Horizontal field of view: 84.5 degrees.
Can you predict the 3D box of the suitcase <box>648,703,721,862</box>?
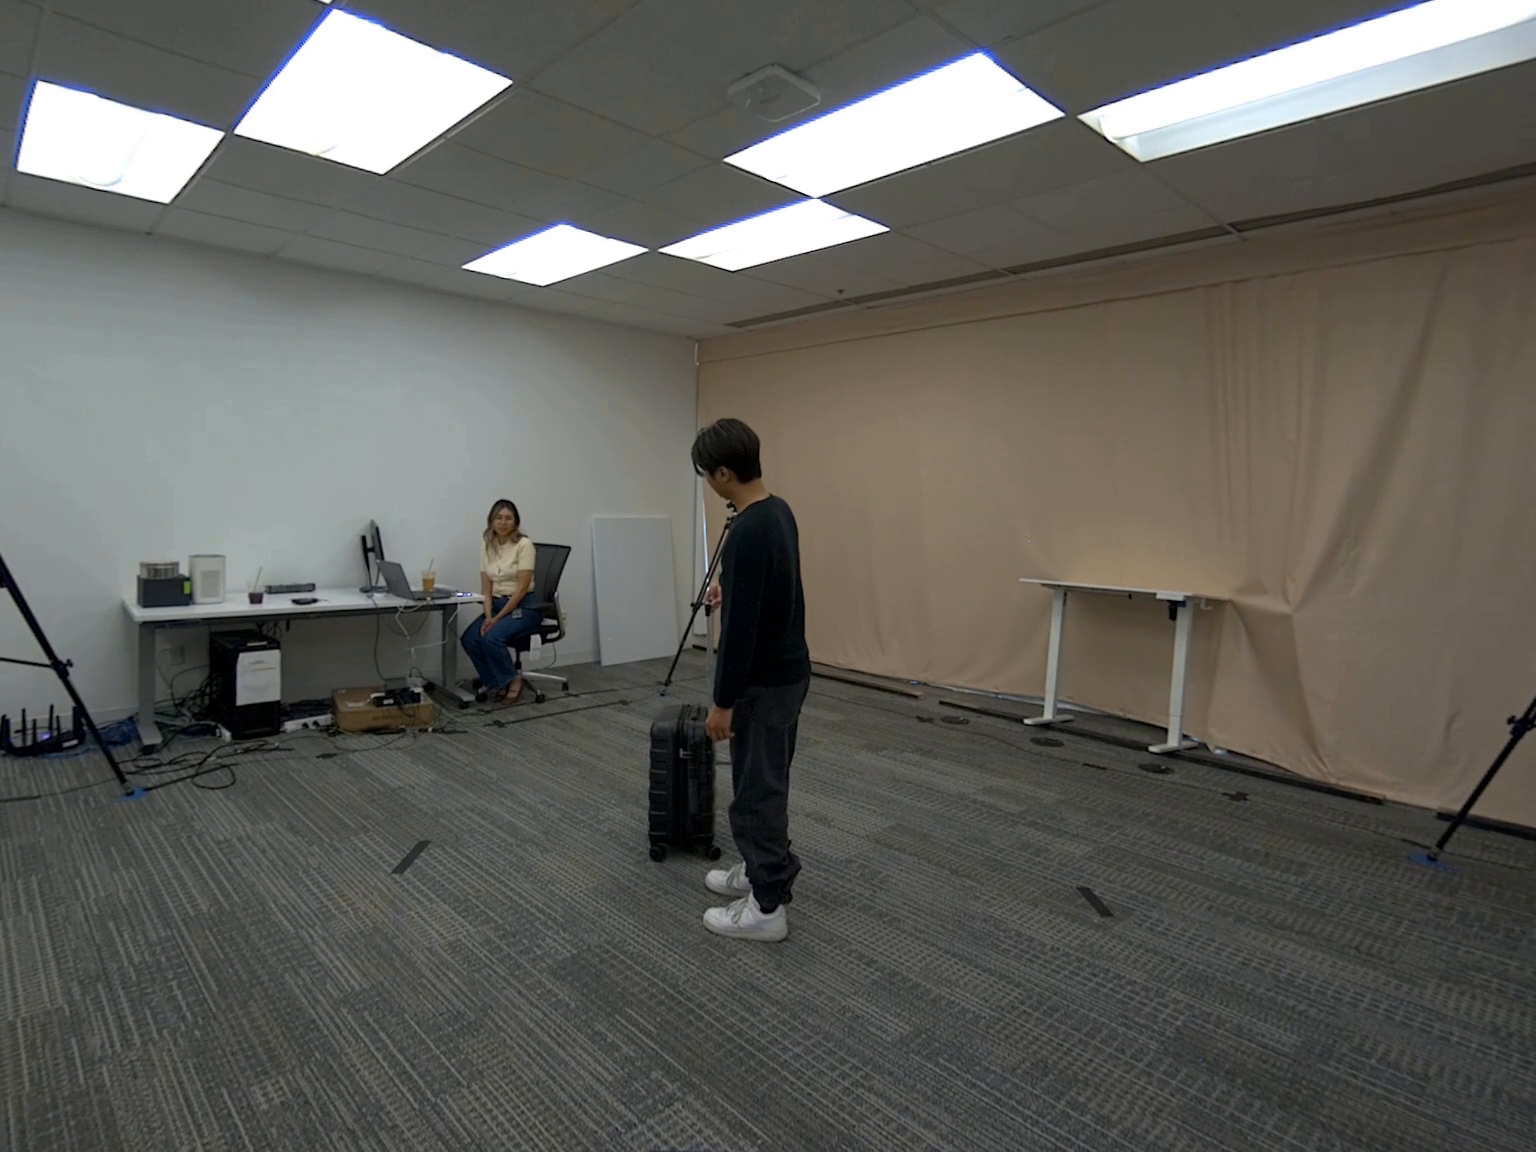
[{"bbox_3d":[-0.347,0.604,3.361,0.256,0.976,0.385,0,3,-3],"label":"suitcase"}]
